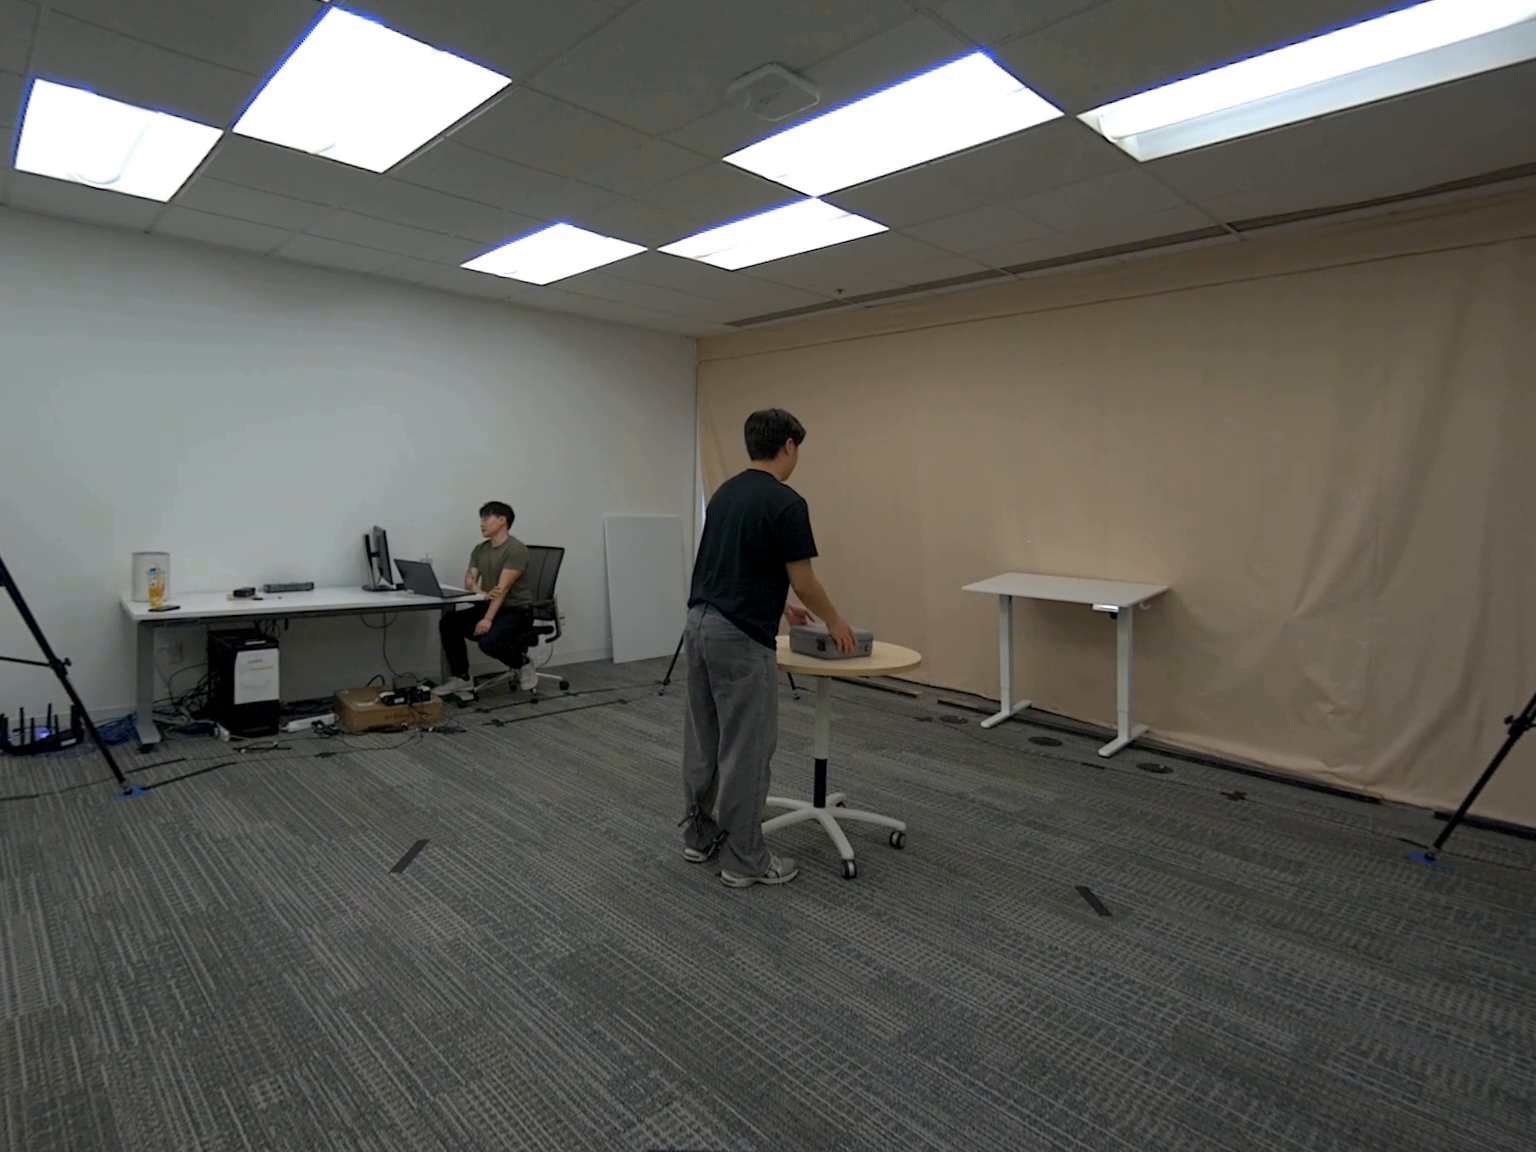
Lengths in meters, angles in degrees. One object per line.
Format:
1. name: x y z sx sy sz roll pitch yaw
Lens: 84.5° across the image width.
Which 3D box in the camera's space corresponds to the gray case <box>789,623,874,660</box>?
1. gray case: 0.255 0.258 3.359 0.281 0.103 0.270 0 4 -36
